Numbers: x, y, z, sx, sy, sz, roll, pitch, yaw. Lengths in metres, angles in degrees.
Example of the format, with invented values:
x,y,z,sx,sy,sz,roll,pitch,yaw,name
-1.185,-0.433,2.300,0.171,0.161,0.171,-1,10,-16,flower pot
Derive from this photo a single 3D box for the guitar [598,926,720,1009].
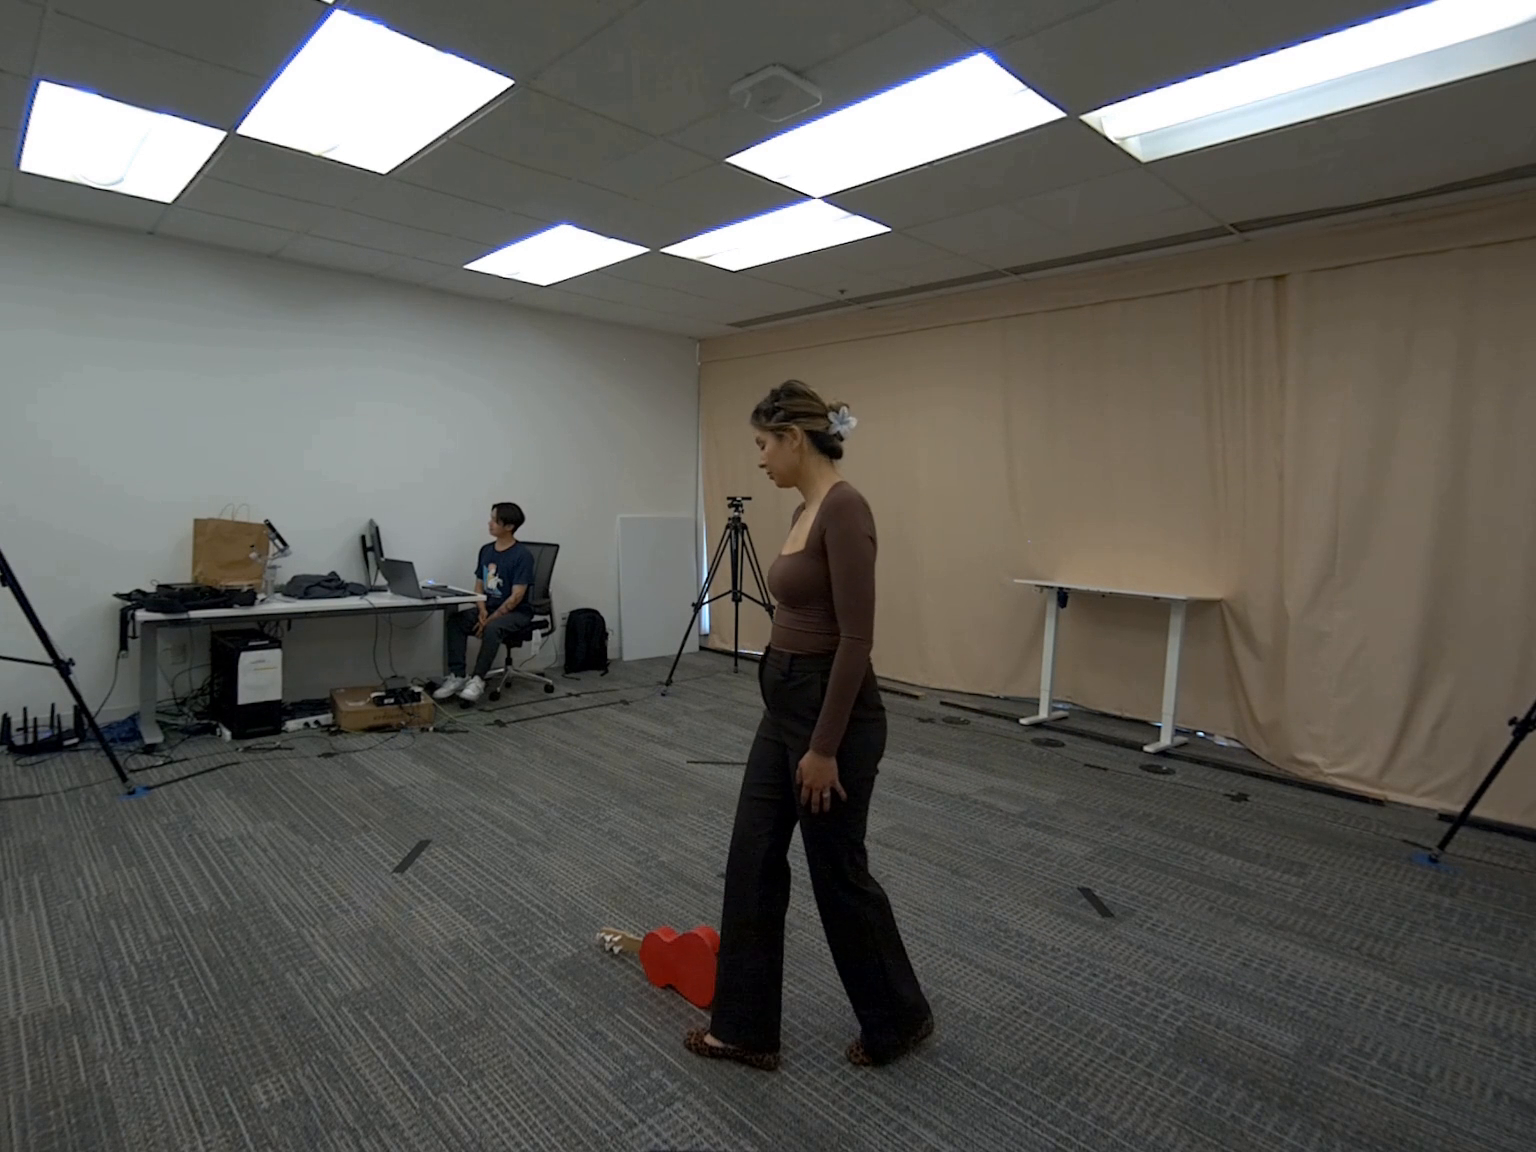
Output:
x,y,z,sx,sy,sz,roll,pitch,yaw,name
-0.330,1.123,2.432,0.505,0.194,0.069,-17,-11,36,guitar
